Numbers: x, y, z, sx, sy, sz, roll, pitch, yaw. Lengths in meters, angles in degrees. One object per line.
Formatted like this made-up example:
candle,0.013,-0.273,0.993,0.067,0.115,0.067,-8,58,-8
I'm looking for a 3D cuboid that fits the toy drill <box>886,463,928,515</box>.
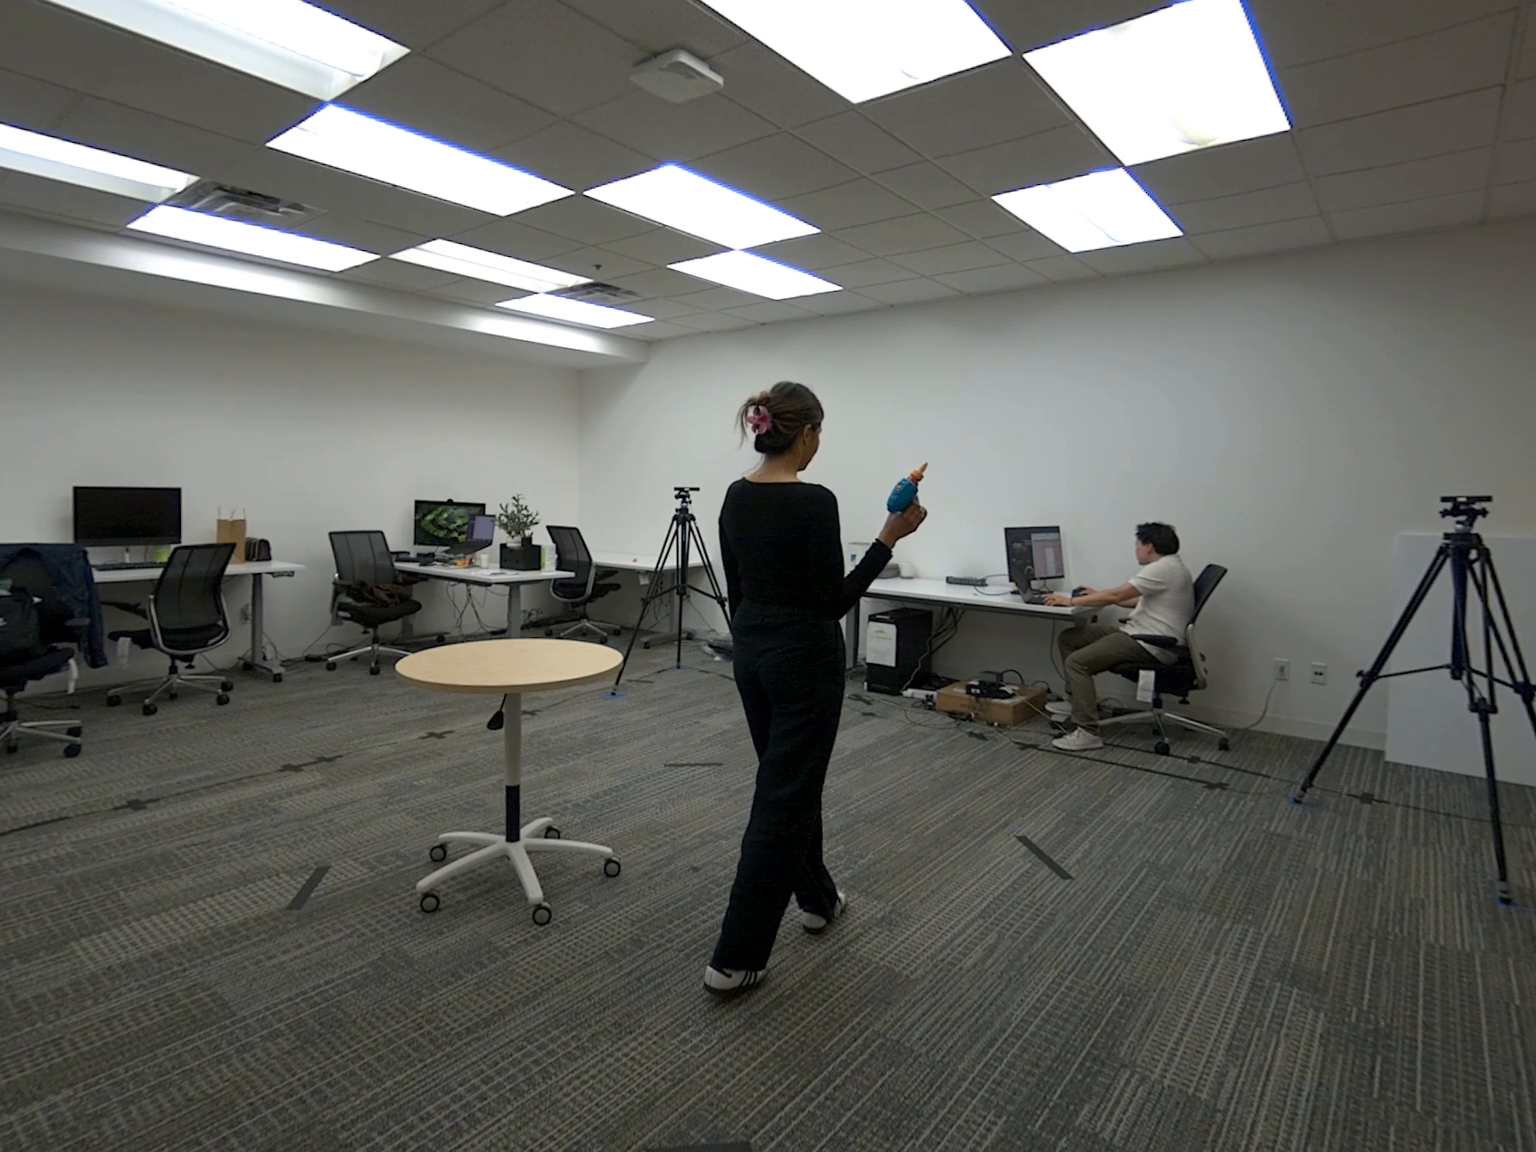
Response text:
toy drill,0.396,-0.228,2.339,0.064,0.170,0.140,31,-7,47
